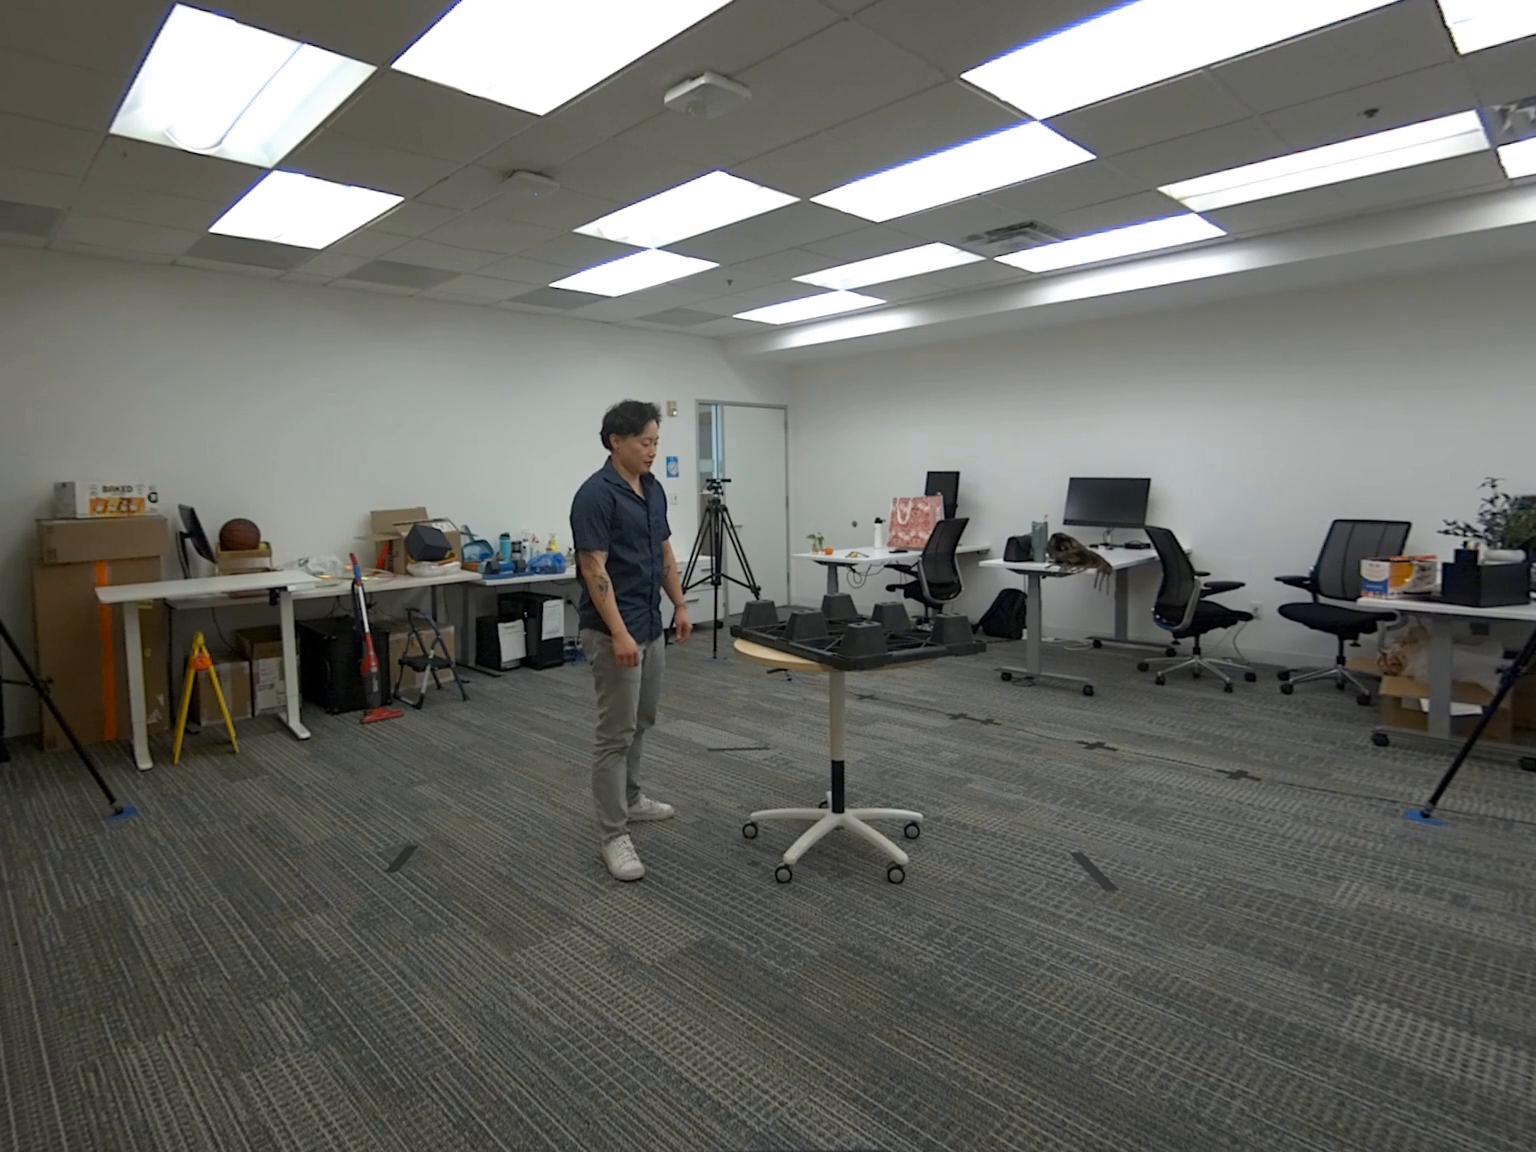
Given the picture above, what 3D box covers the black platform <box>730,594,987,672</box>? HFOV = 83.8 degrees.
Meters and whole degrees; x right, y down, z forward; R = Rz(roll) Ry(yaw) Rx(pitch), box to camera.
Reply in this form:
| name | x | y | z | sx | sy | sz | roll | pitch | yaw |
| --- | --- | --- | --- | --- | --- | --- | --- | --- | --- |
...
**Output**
| name | x | y | z | sx | sy | sz | roll | pitch | yaw |
| --- | --- | --- | --- | --- | --- | --- | --- | --- | --- |
| black platform | 0.306 | 0.184 | 3.156 | 0.591 | 0.142 | 0.828 | -5 | 7 | -29 |
